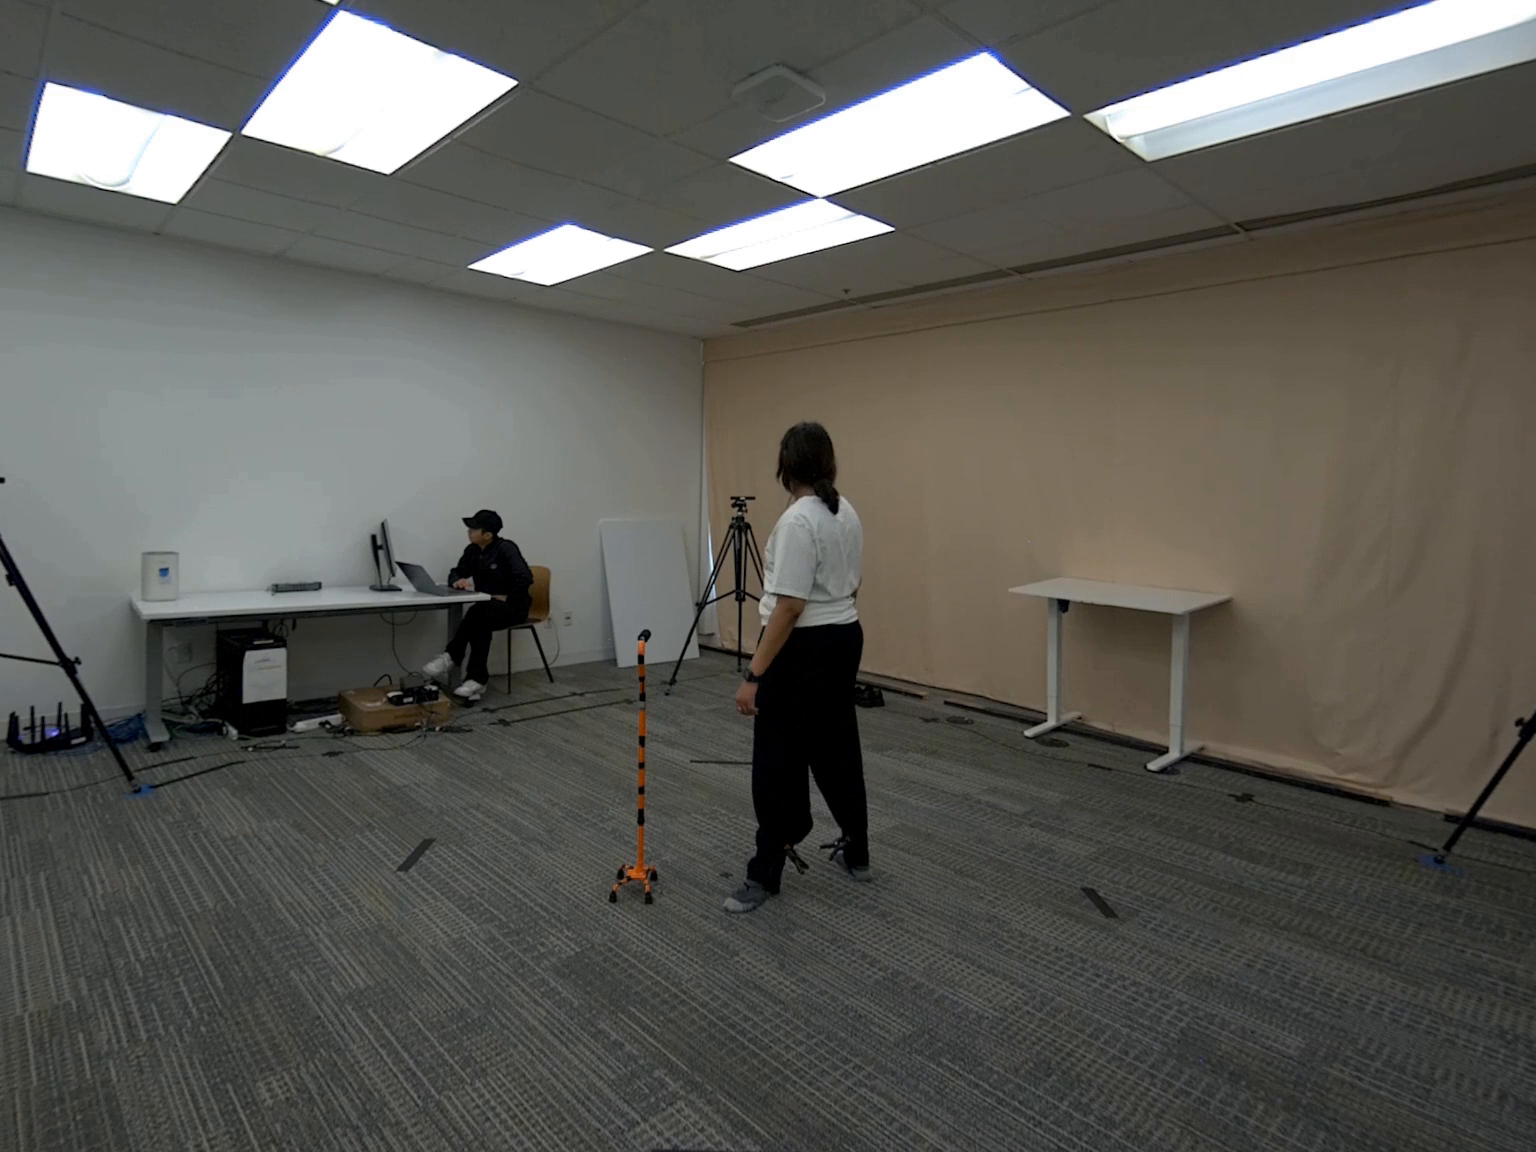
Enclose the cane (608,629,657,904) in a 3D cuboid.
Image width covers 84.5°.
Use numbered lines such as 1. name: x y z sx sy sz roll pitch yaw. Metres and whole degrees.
1. cane: -0.459 0.654 2.949 0.151 0.906 0.207 2 2 -1
